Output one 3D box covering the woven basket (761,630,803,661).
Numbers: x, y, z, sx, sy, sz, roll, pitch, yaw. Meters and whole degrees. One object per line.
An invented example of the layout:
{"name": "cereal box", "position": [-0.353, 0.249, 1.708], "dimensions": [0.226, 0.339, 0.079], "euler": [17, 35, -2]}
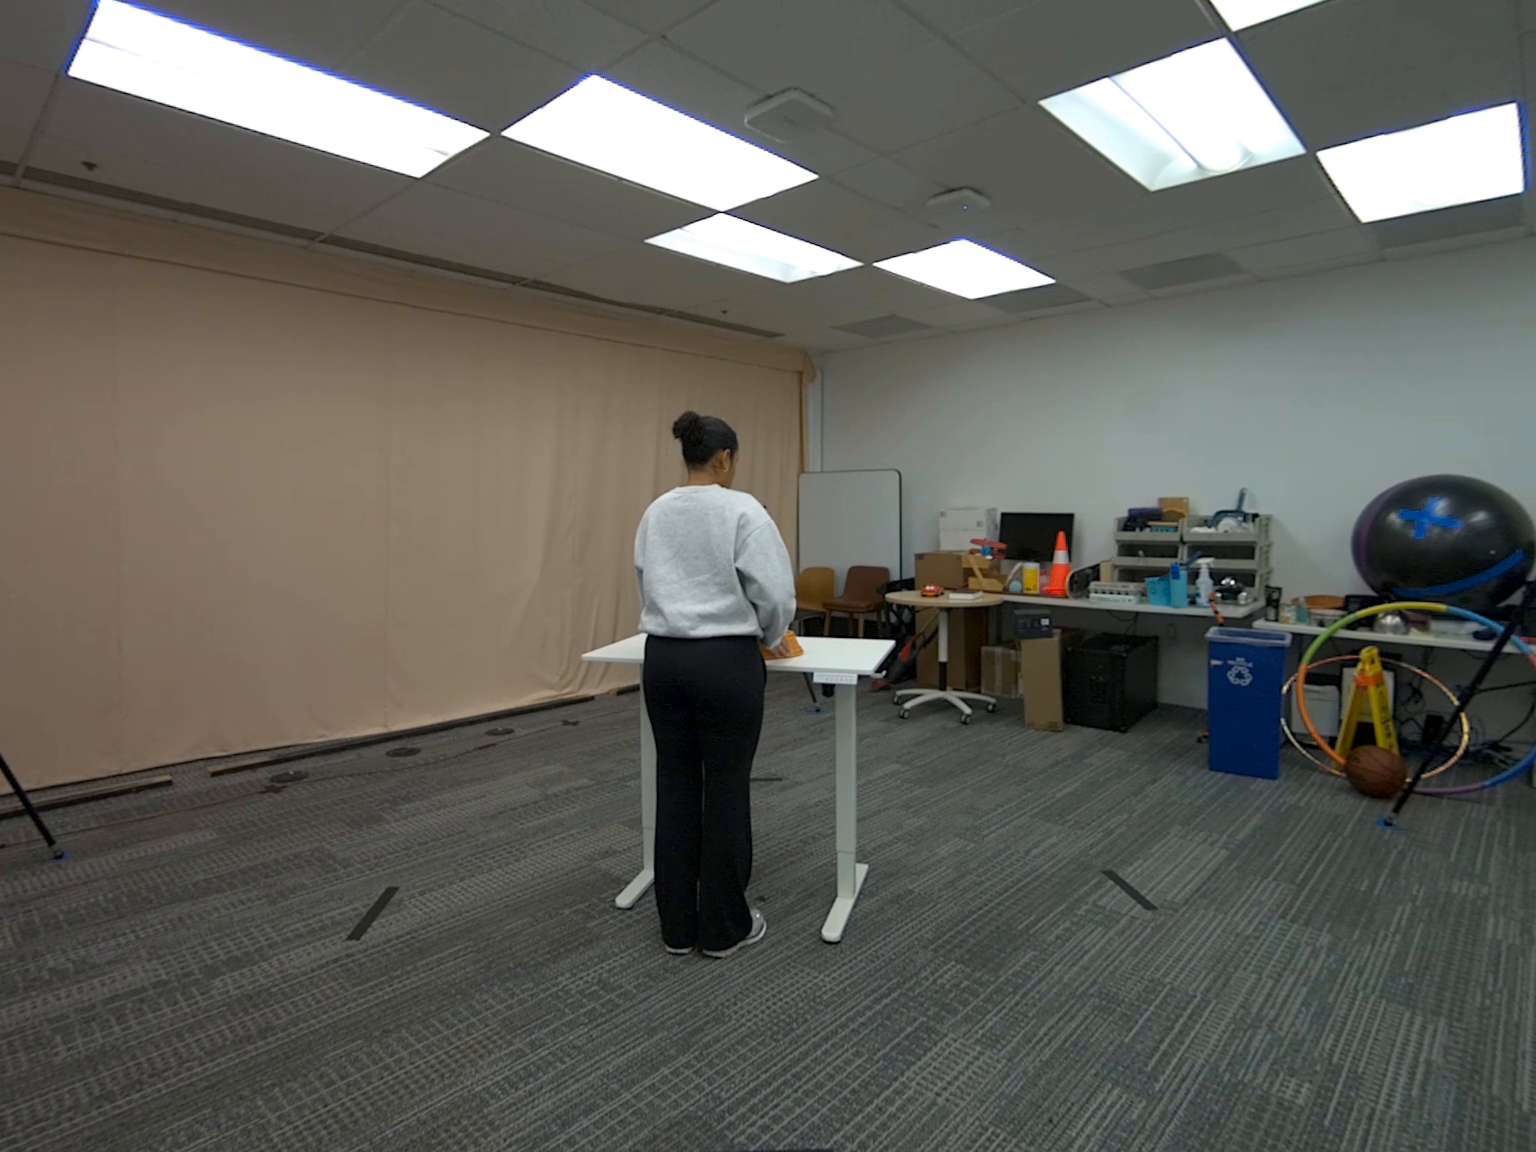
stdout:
{"name": "woven basket", "position": [-0.007, 0.240, 2.864], "dimensions": [0.254, 0.073, 0.349], "euler": [1, 3, 3]}
